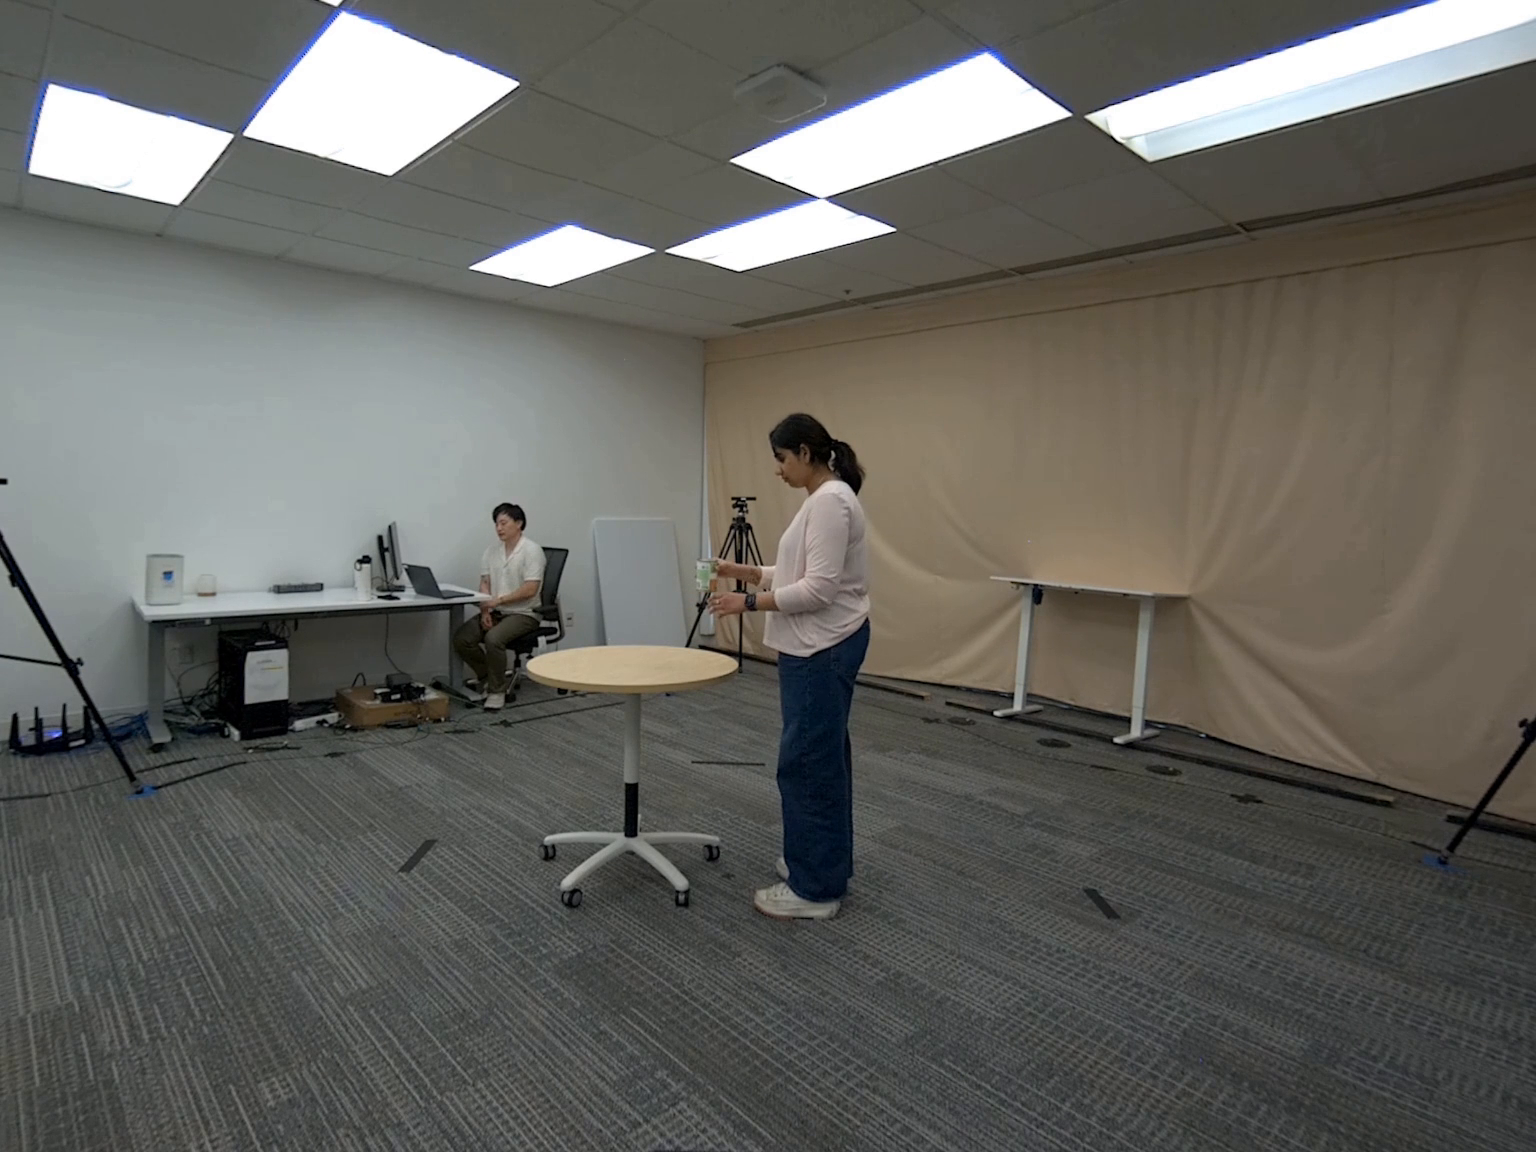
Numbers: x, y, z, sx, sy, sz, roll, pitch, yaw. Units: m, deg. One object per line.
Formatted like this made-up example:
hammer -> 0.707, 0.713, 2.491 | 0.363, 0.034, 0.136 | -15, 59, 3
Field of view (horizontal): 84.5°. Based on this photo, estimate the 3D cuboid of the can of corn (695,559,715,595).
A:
can of corn -> -0.227, 0.000, 3.006 | 0.074, 0.111, 0.074 | 2, 0, -1
